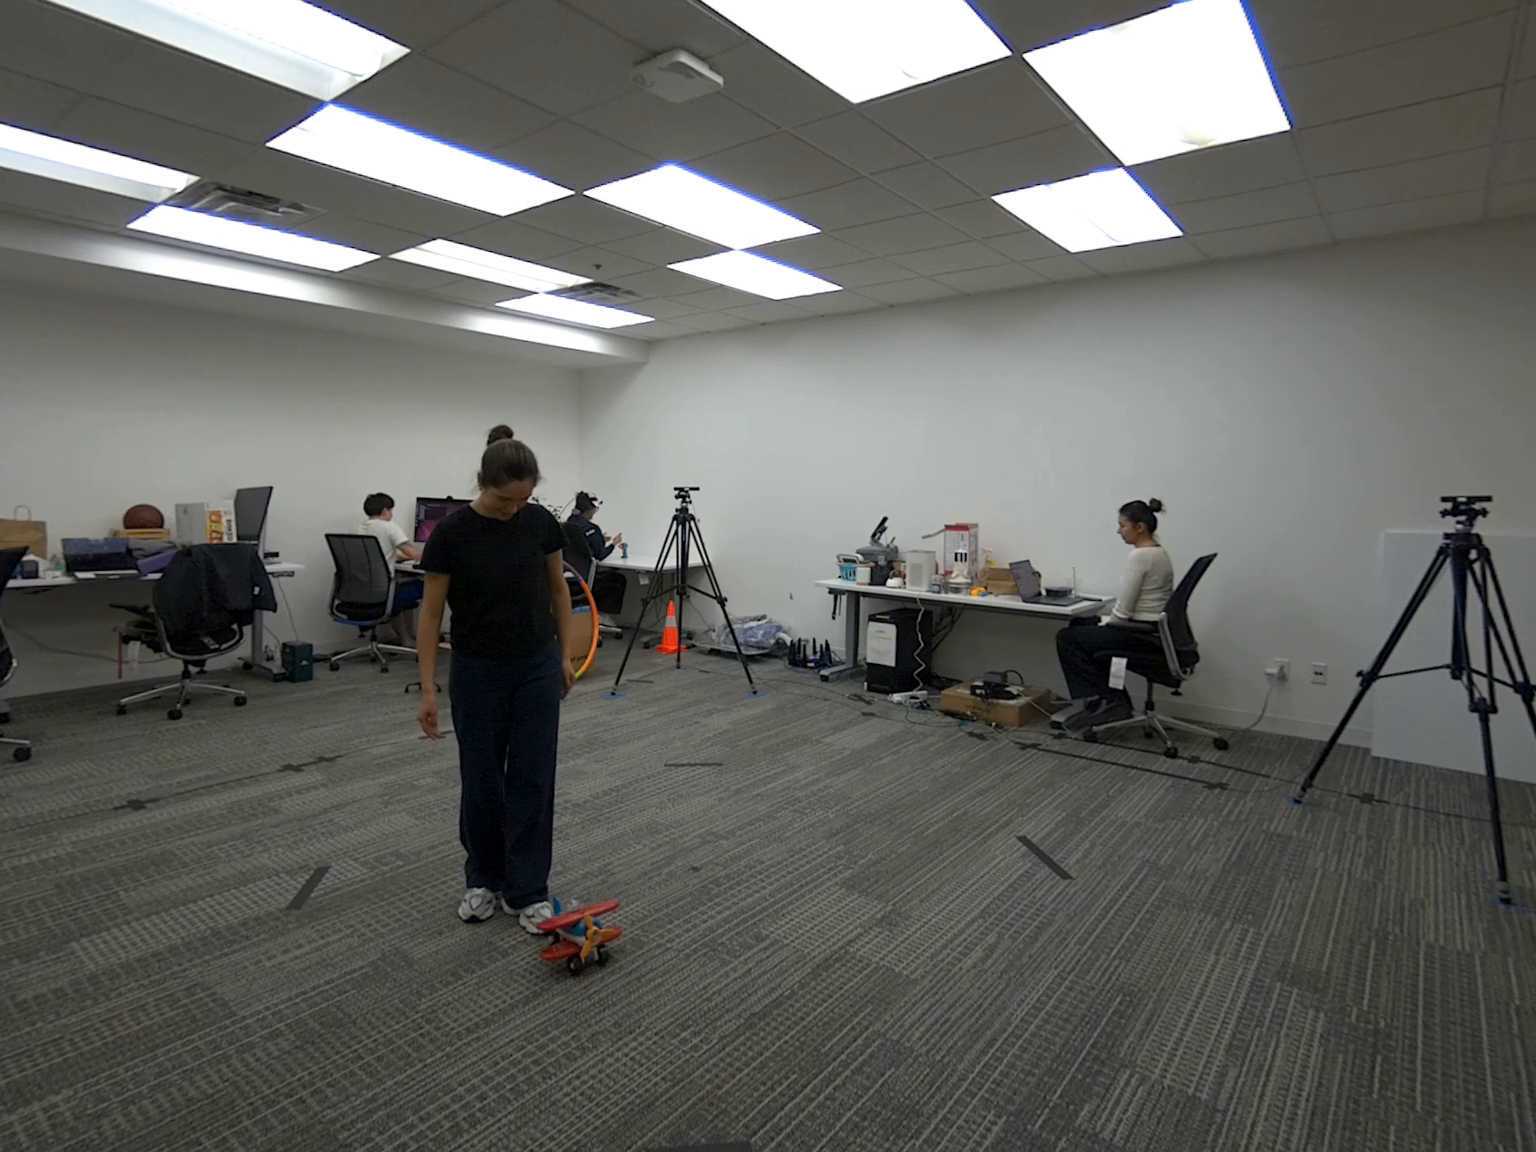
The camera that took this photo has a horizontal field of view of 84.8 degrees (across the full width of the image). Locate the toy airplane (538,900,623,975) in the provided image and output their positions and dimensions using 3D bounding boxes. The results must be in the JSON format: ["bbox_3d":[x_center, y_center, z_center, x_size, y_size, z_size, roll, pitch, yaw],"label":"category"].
[{"bbox_3d":[-0.580,1.045,2.521,0.266,0.156,0.246,3,5,24],"label":"toy airplane"}]
